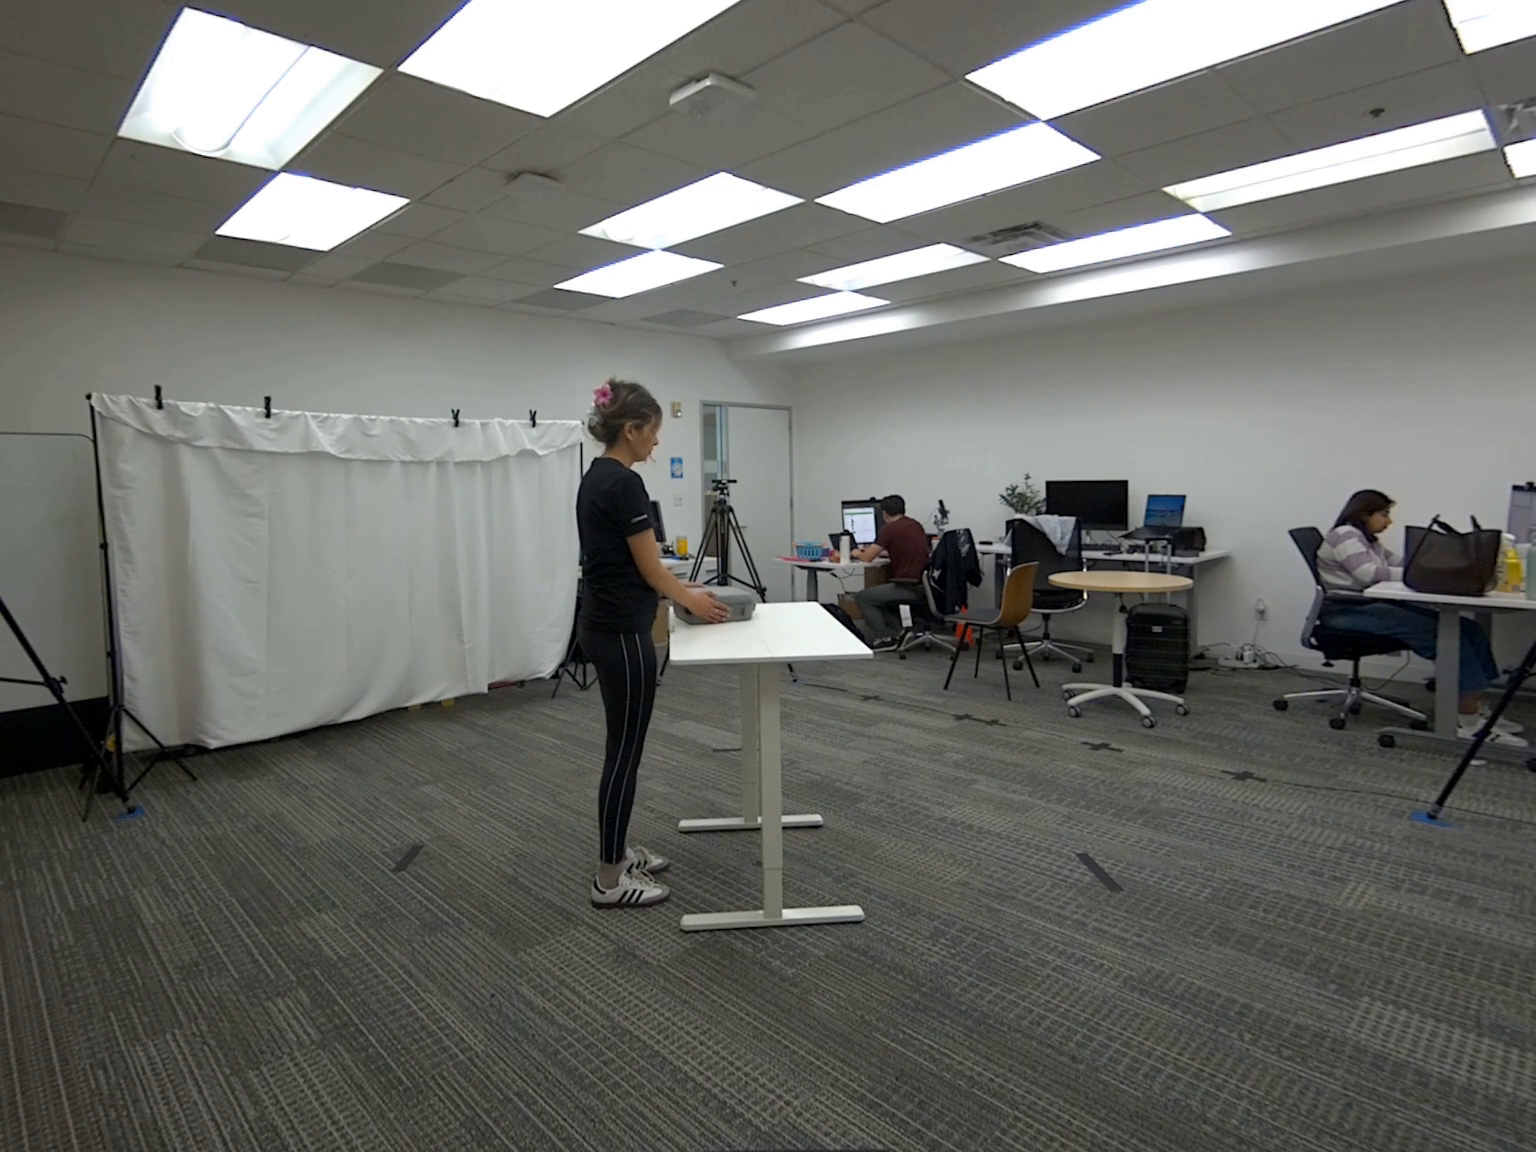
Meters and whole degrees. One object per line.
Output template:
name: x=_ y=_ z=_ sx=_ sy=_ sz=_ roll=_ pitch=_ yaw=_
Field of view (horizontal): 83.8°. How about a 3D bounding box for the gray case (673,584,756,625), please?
gray case: x=-0.200 y=0.107 z=3.195 sx=0.256 sy=0.104 sz=0.262 roll=-3 pitch=6 yaw=-19
